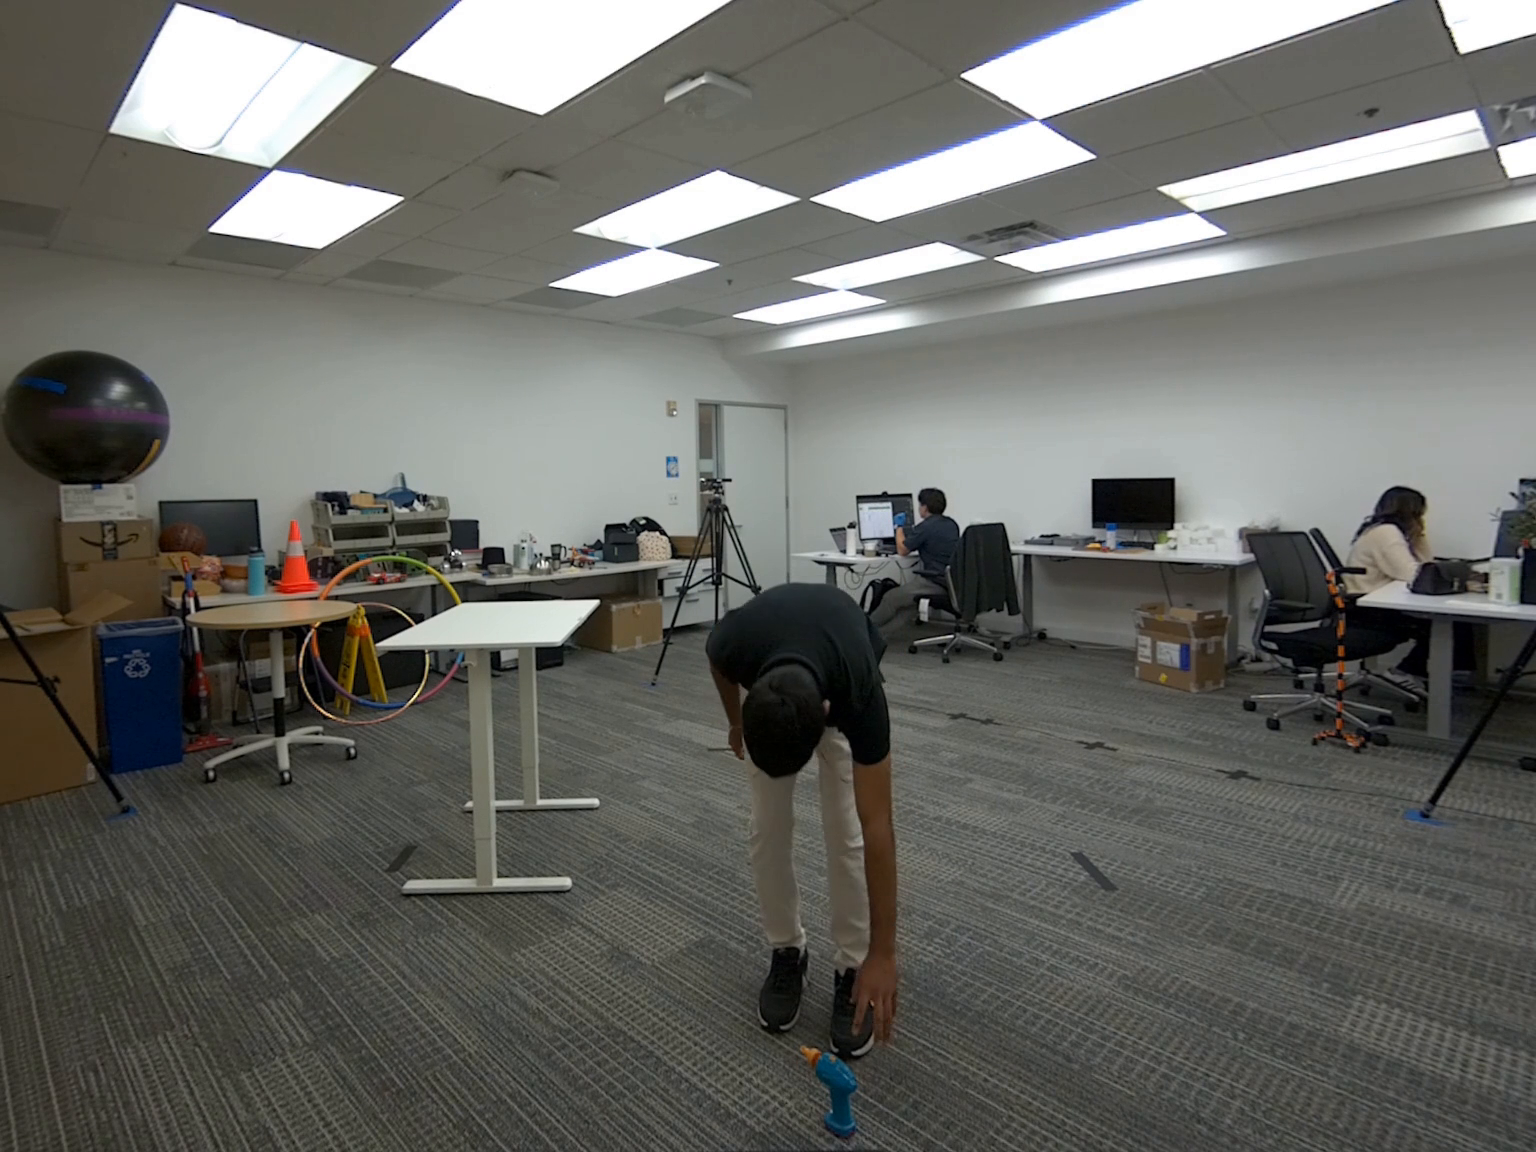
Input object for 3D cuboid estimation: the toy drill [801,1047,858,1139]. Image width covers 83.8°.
[{"bbox_3d":[0.141,1.121,1.862,0.059,0.145,0.175,-1,7,-38],"label":"toy drill"}]
